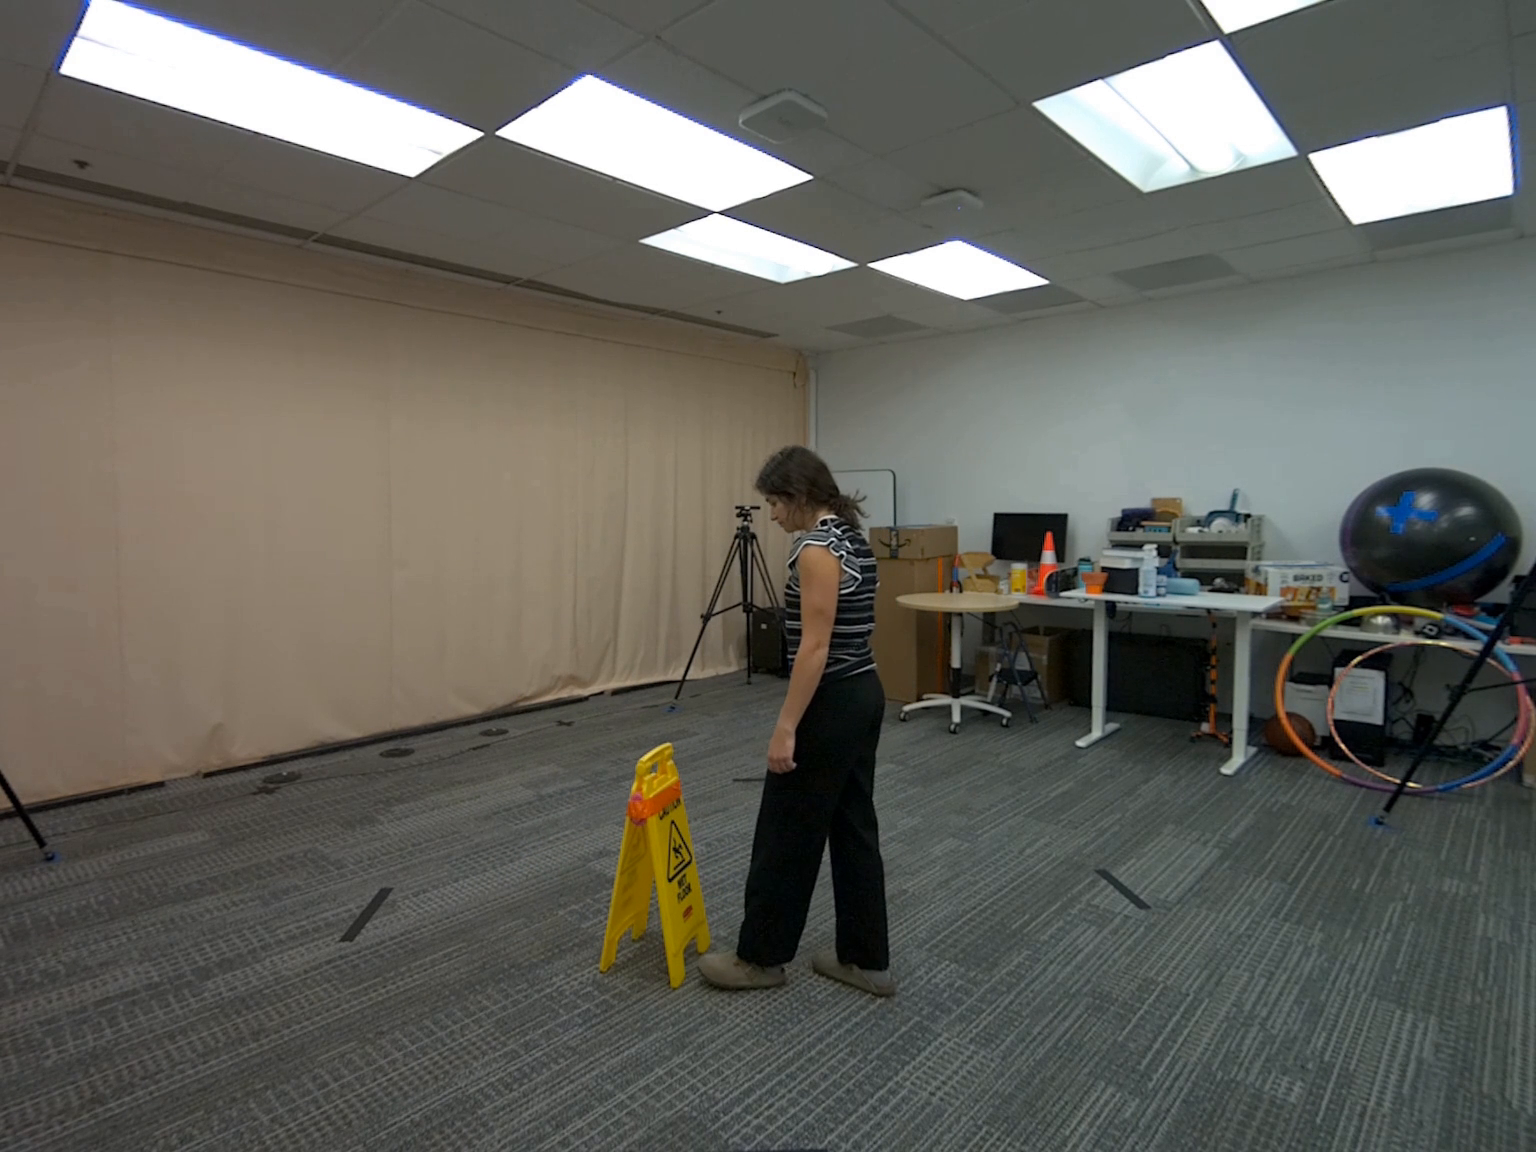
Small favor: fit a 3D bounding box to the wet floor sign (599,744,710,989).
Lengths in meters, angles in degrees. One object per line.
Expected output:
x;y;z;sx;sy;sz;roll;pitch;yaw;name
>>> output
-0.346;0.858;2.579;0.296;0.645;0.277;0;2;20;wet floor sign
